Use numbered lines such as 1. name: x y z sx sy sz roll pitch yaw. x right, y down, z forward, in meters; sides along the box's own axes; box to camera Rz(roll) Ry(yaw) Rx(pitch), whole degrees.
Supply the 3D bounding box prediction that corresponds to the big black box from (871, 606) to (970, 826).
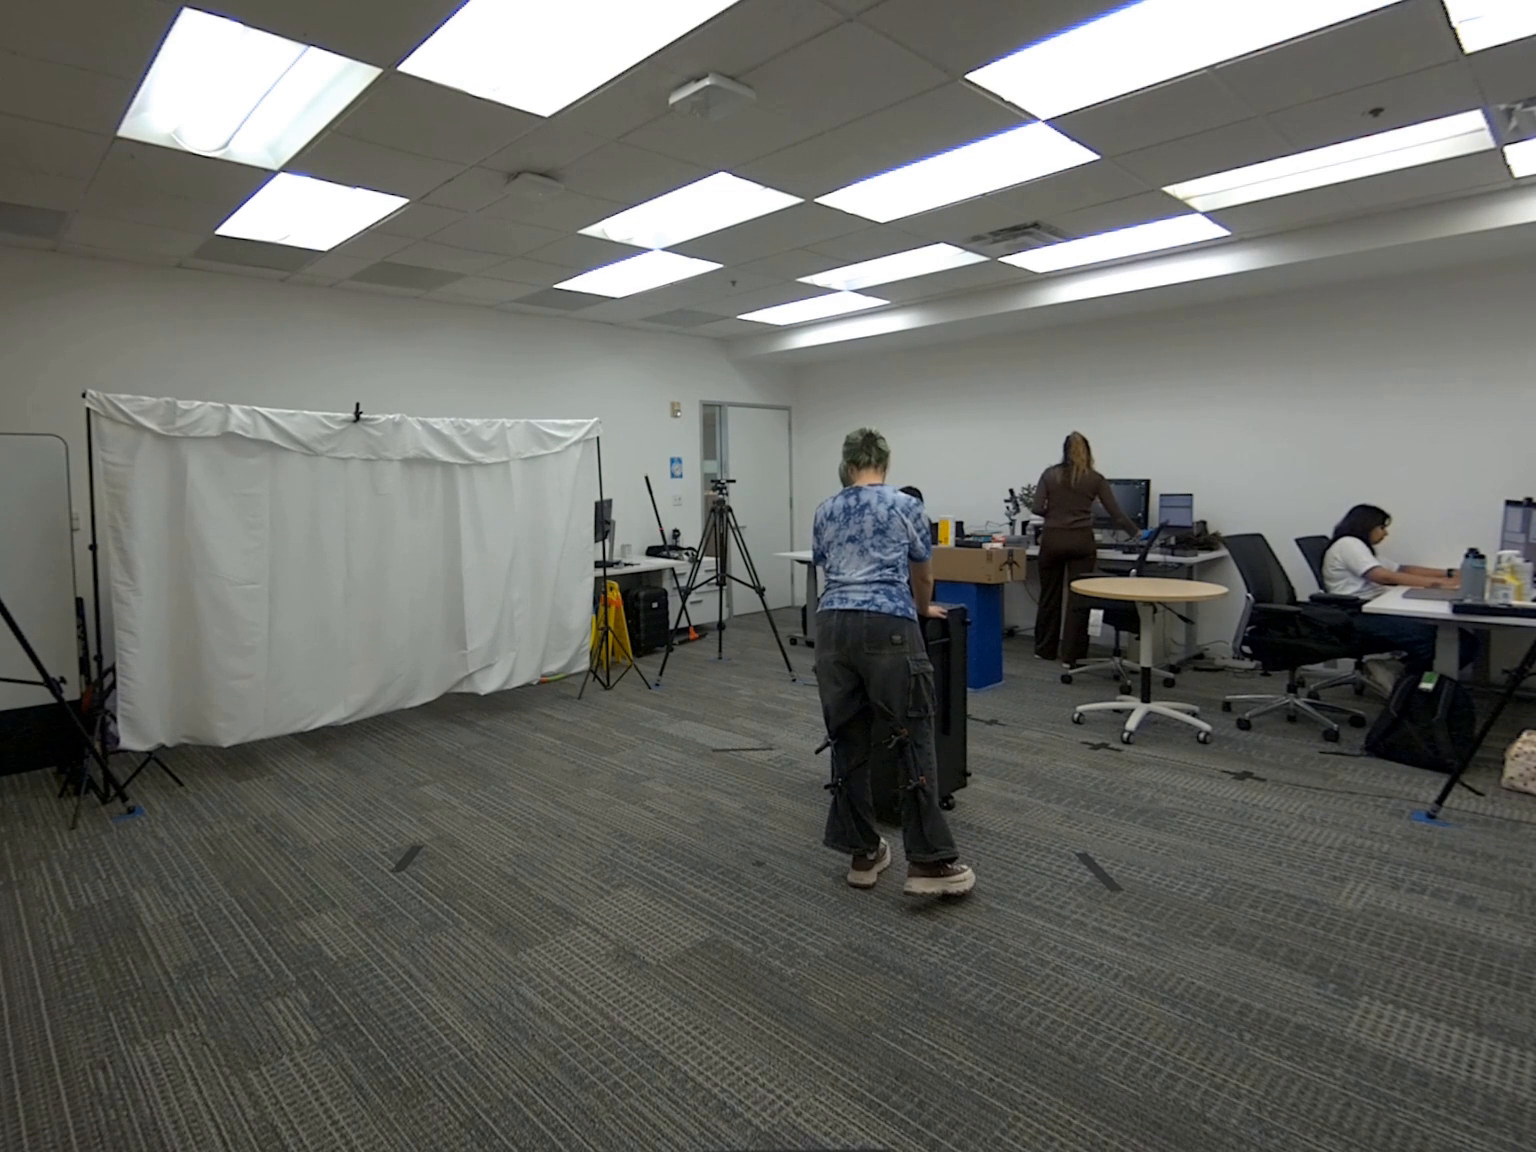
1. big black box: 0.567 0.557 3.596 0.507 0.858 0.408 -5 6 -43
